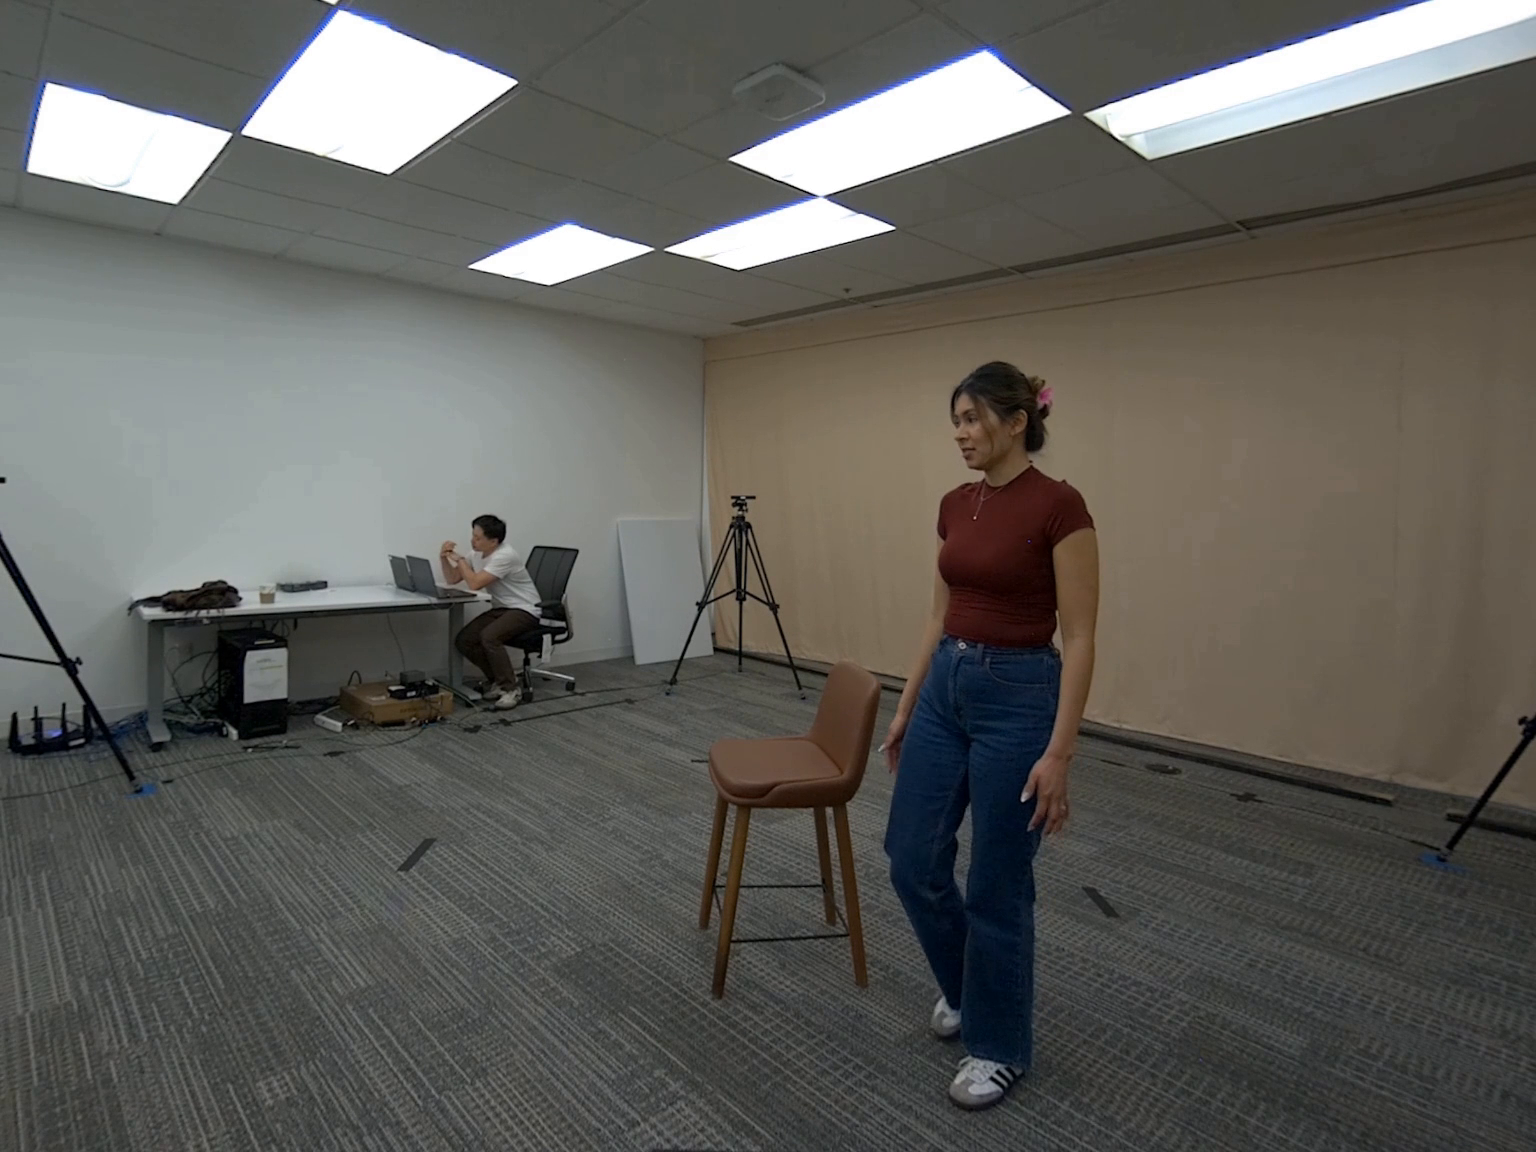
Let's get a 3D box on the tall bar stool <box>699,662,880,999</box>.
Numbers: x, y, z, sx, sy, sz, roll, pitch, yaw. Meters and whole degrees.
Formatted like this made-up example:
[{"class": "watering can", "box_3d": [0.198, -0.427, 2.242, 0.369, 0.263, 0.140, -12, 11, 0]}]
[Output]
[{"class": "tall bar stool", "box_3d": [0.047, 0.728, 2.533, 0.464, 0.887, 0.461, 2, 4, -10]}]
